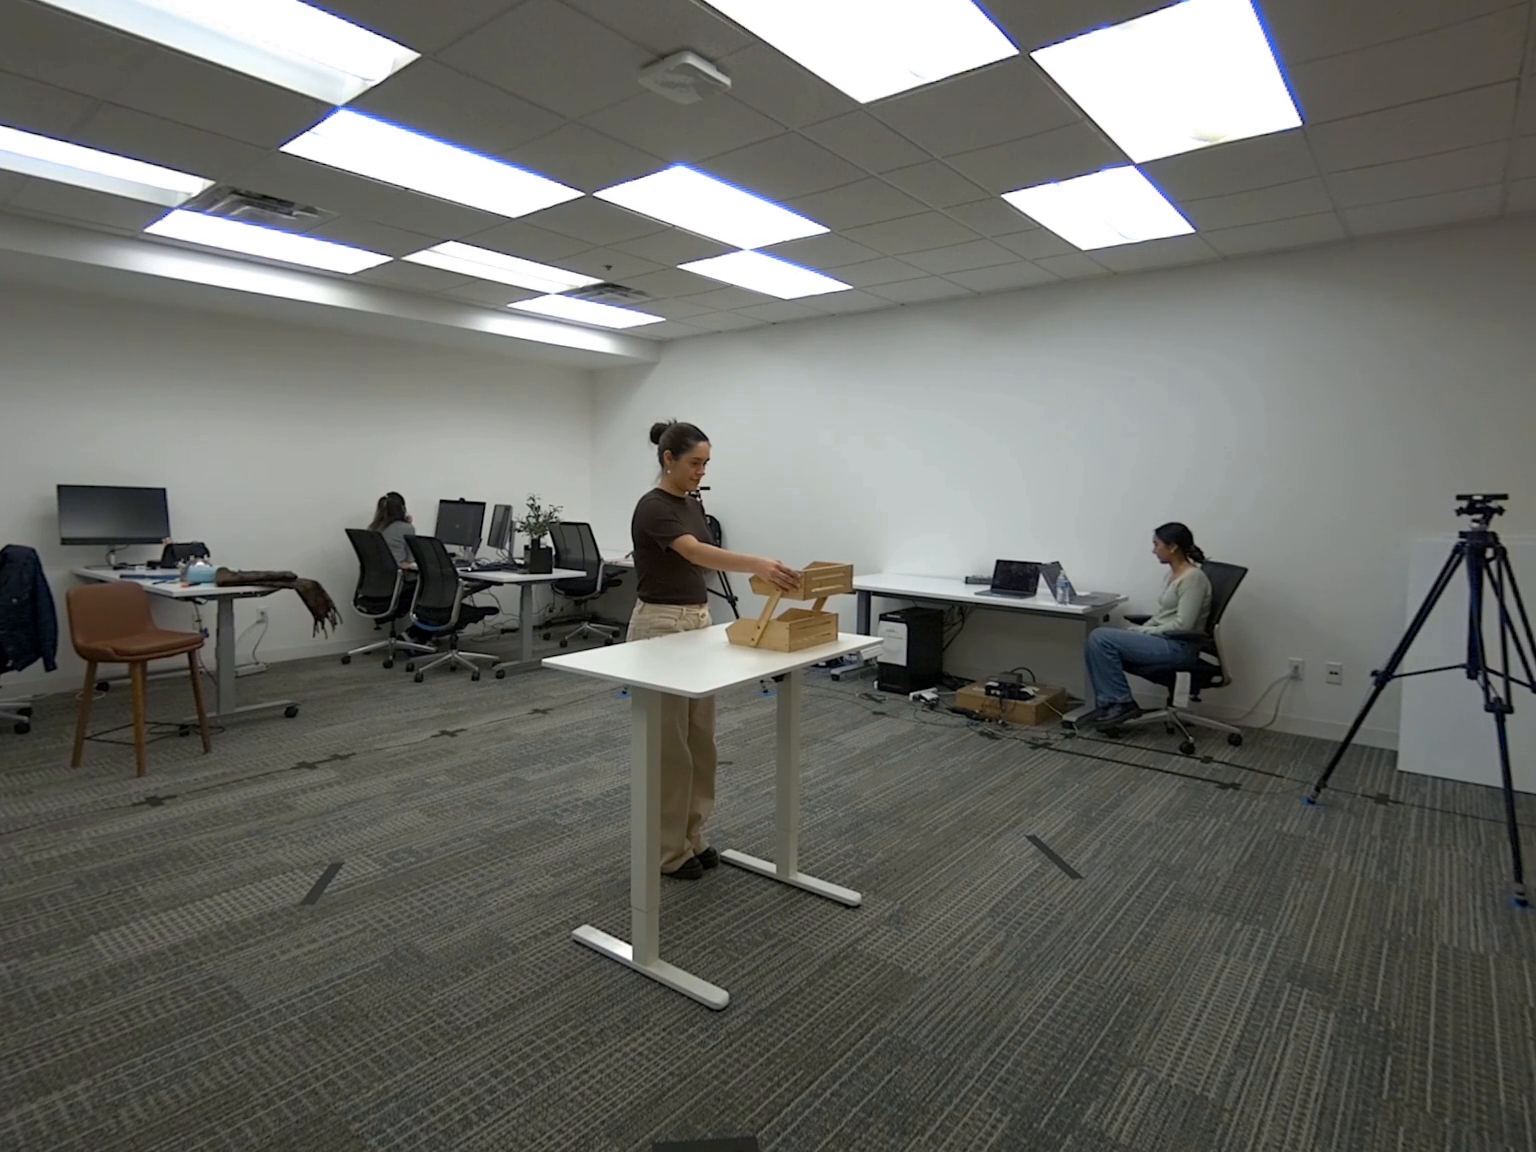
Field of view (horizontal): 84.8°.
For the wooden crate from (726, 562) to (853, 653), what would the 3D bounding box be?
[{"bbox_3d":[0.062,0.086,2.795,0.312,0.272,0.315,6,7,36],"label":"wooden crate"}]
